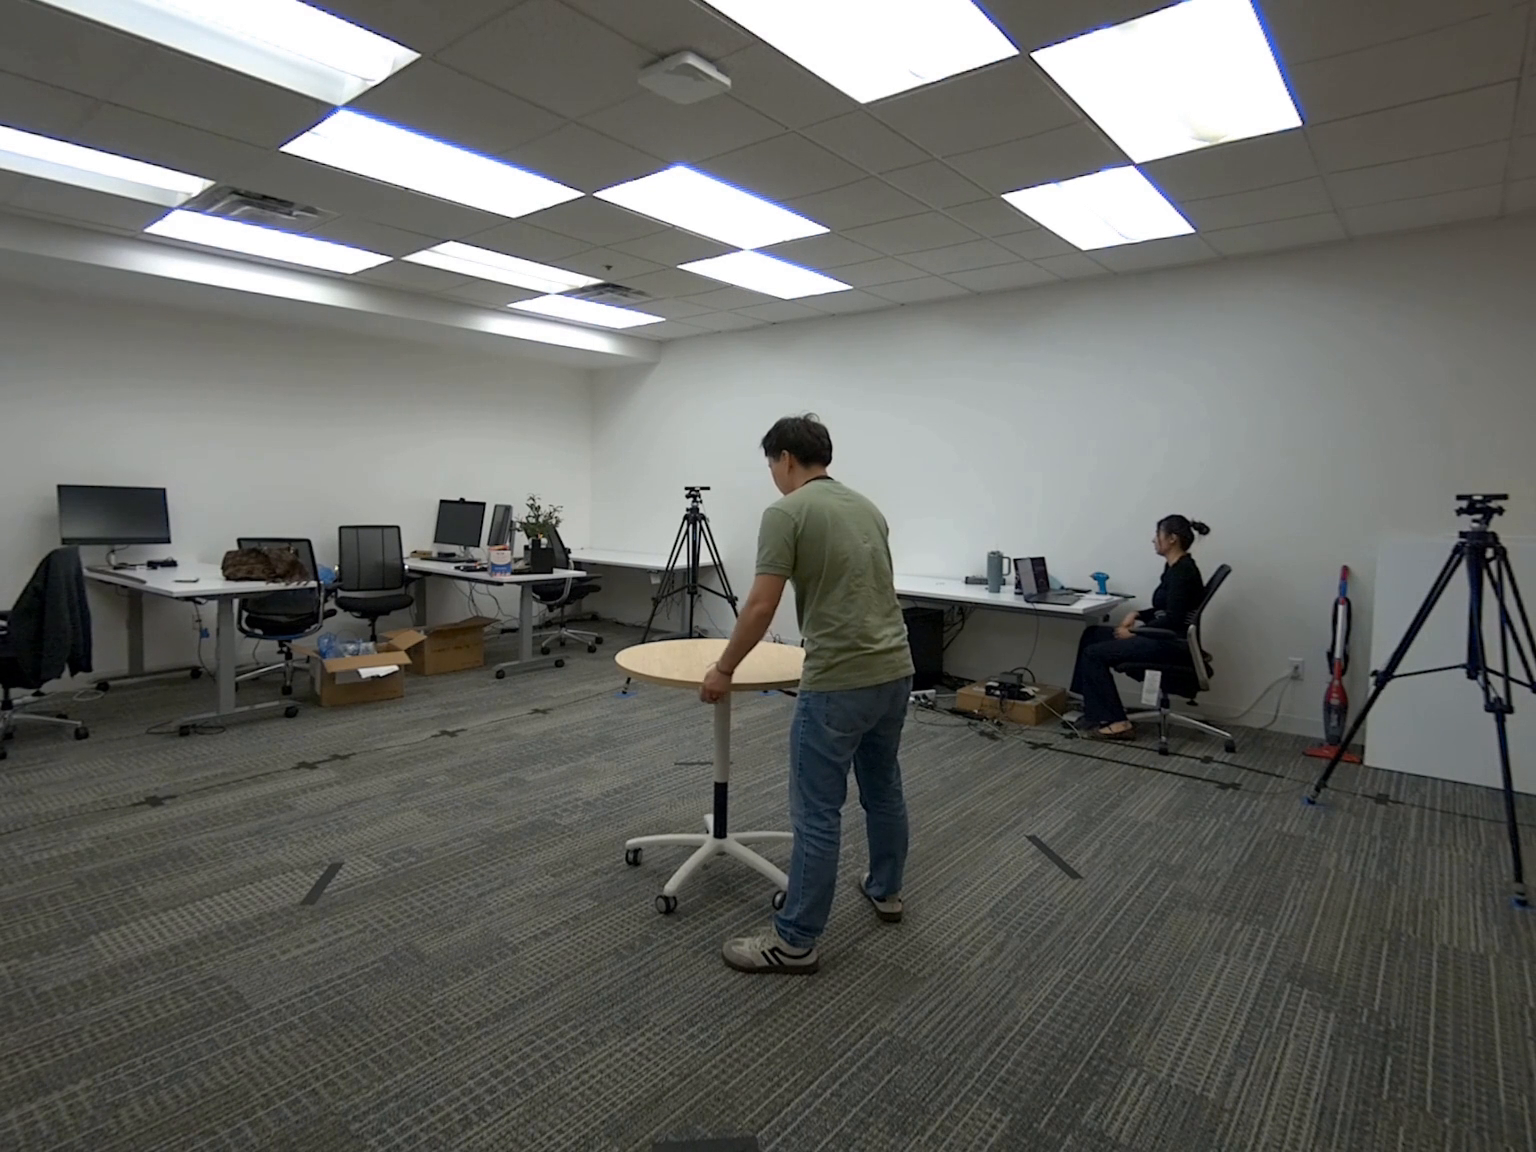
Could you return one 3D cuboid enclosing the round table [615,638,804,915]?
[{"bbox_3d":[-0.171,0.681,3.035,0.763,0.791,0.768,1,4,-2],"label":"round table"}]
